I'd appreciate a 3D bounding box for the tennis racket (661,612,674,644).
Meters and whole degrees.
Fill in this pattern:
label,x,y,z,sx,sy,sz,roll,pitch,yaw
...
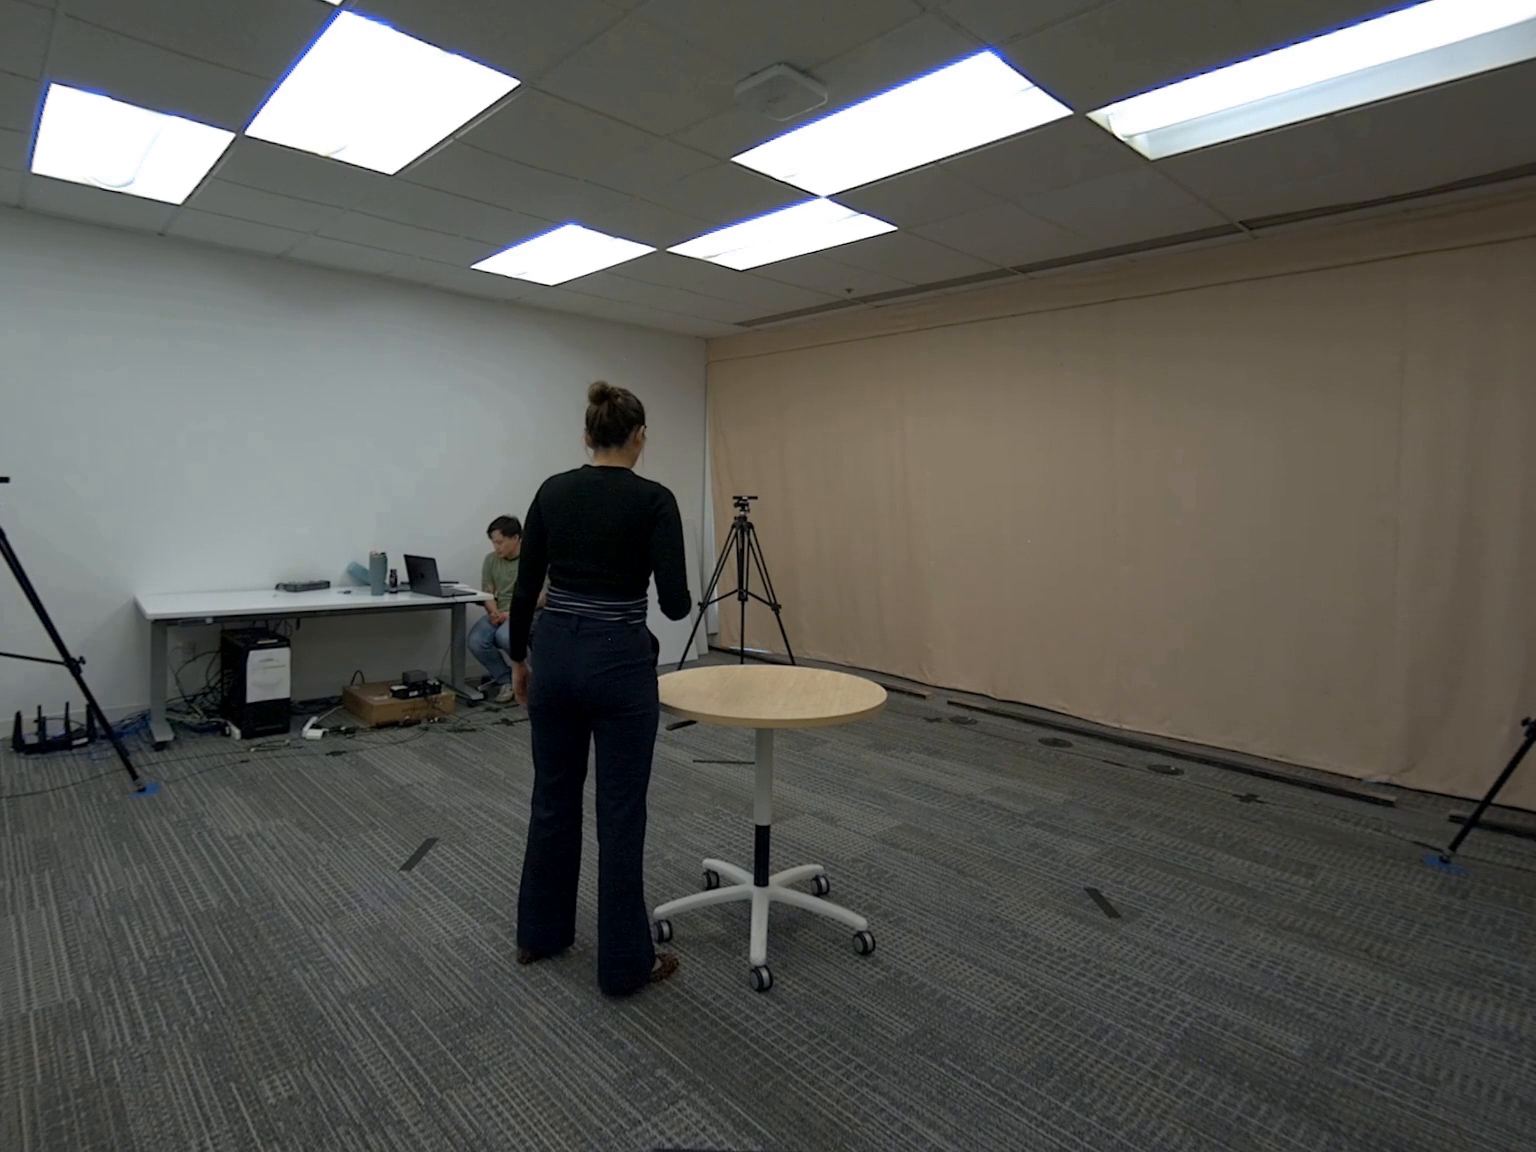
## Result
label,x,y,z,sx,sy,sz,roll,pitch,yaw
tennis racket,-0.319,-0.011,2.735,0.031,0.209,0.443,2,38,-6
